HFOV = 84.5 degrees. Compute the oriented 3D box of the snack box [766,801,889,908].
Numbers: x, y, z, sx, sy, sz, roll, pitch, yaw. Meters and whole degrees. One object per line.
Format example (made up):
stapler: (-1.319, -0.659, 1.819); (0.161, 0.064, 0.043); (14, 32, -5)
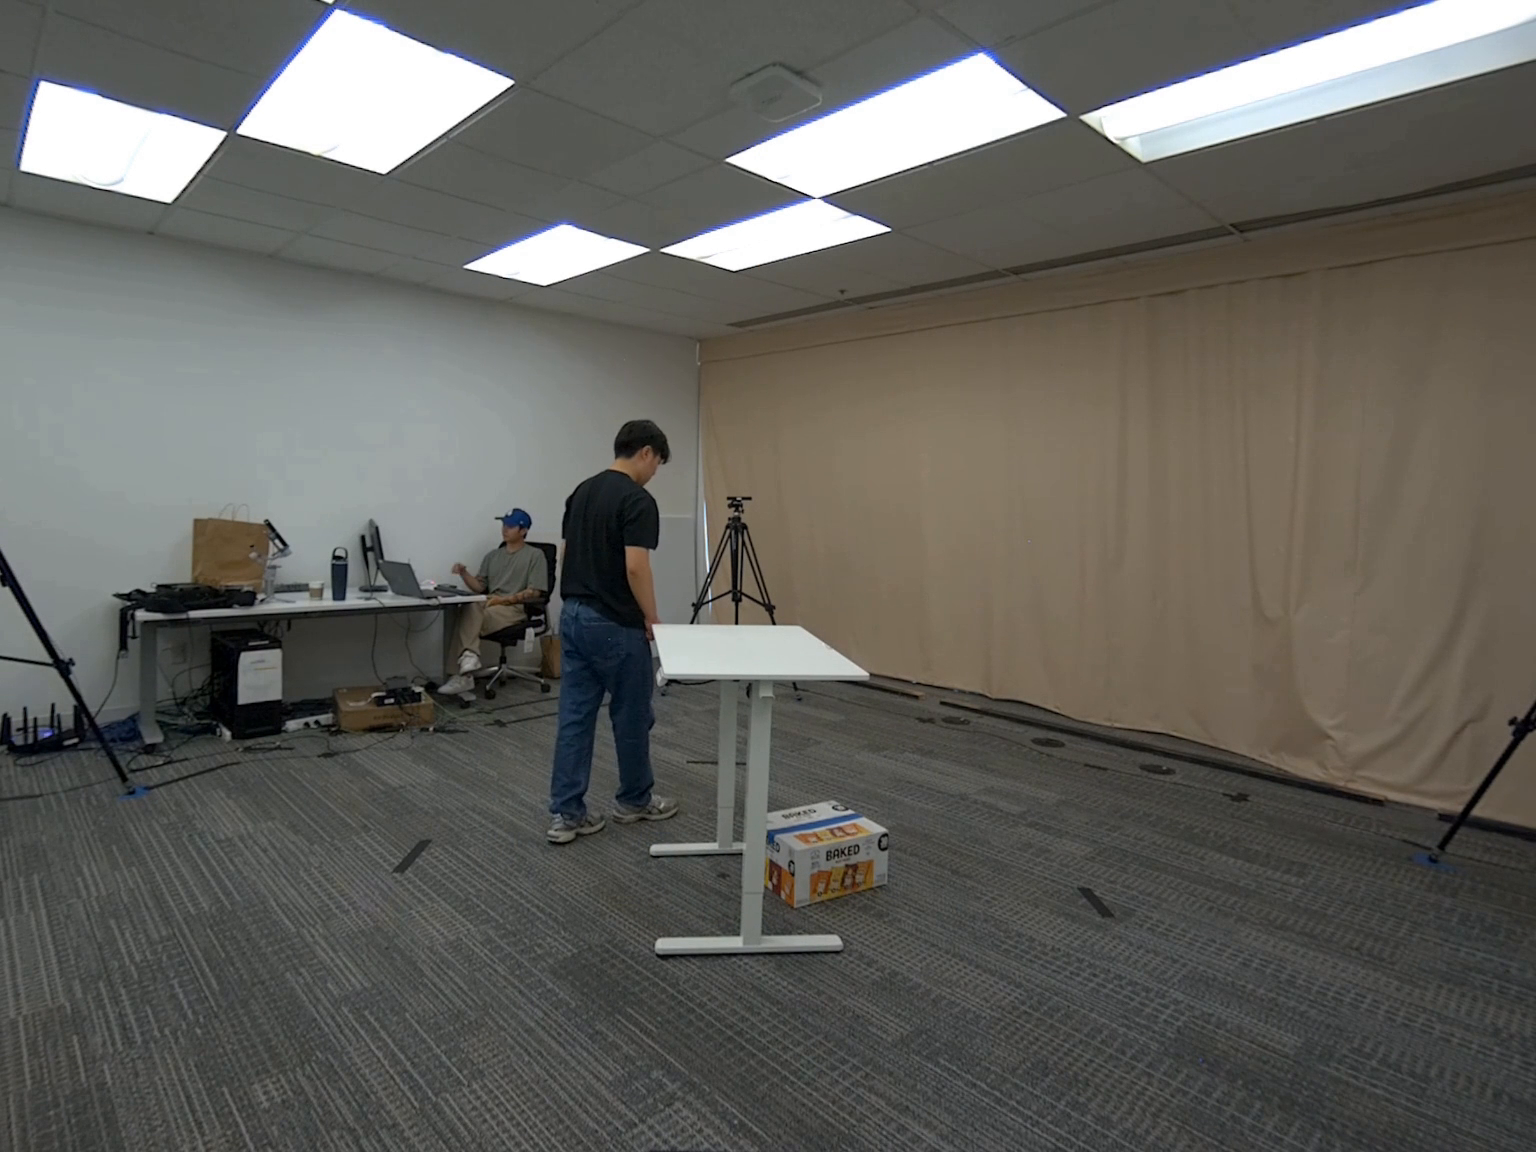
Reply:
snack box: (0.173, 1.014, 3.097); (0.397, 0.205, 0.348); (-2, 5, -30)
